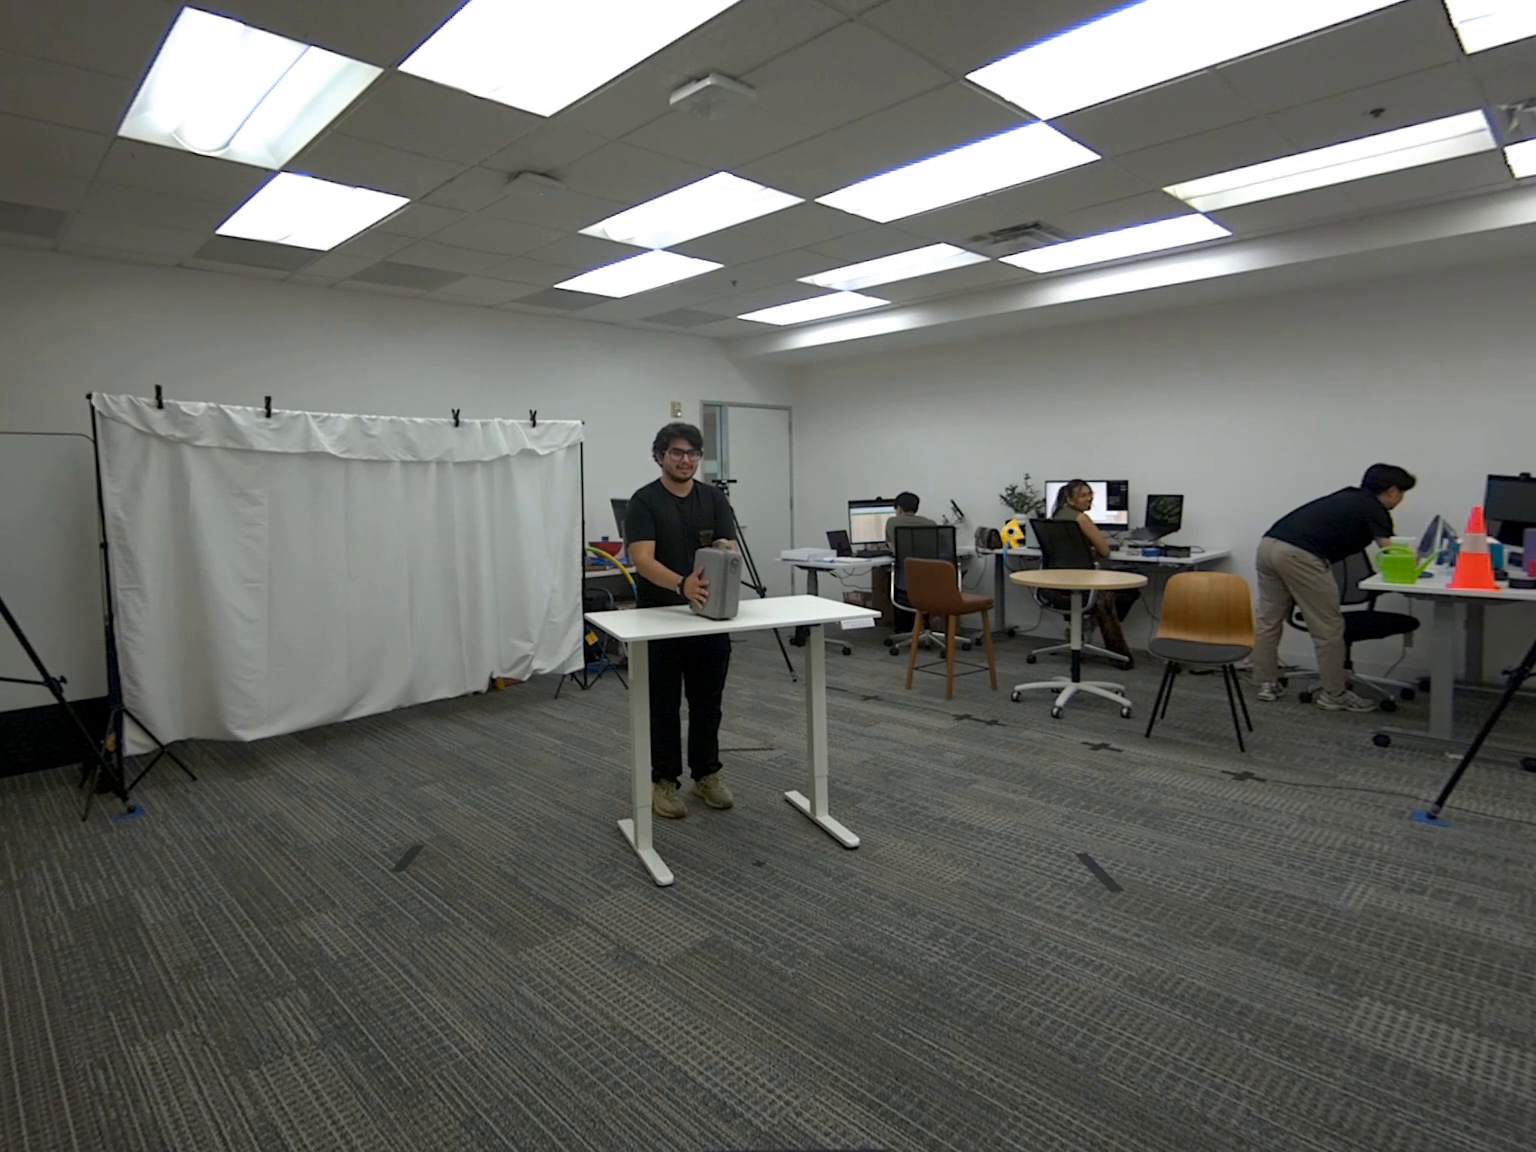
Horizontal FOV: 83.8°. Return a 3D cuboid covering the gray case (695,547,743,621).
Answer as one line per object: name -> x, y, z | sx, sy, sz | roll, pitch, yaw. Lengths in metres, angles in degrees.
gray case -> -0.197, 0.023, 3.226 | 0.102, 0.261, 0.262 | 4, 0, -23
